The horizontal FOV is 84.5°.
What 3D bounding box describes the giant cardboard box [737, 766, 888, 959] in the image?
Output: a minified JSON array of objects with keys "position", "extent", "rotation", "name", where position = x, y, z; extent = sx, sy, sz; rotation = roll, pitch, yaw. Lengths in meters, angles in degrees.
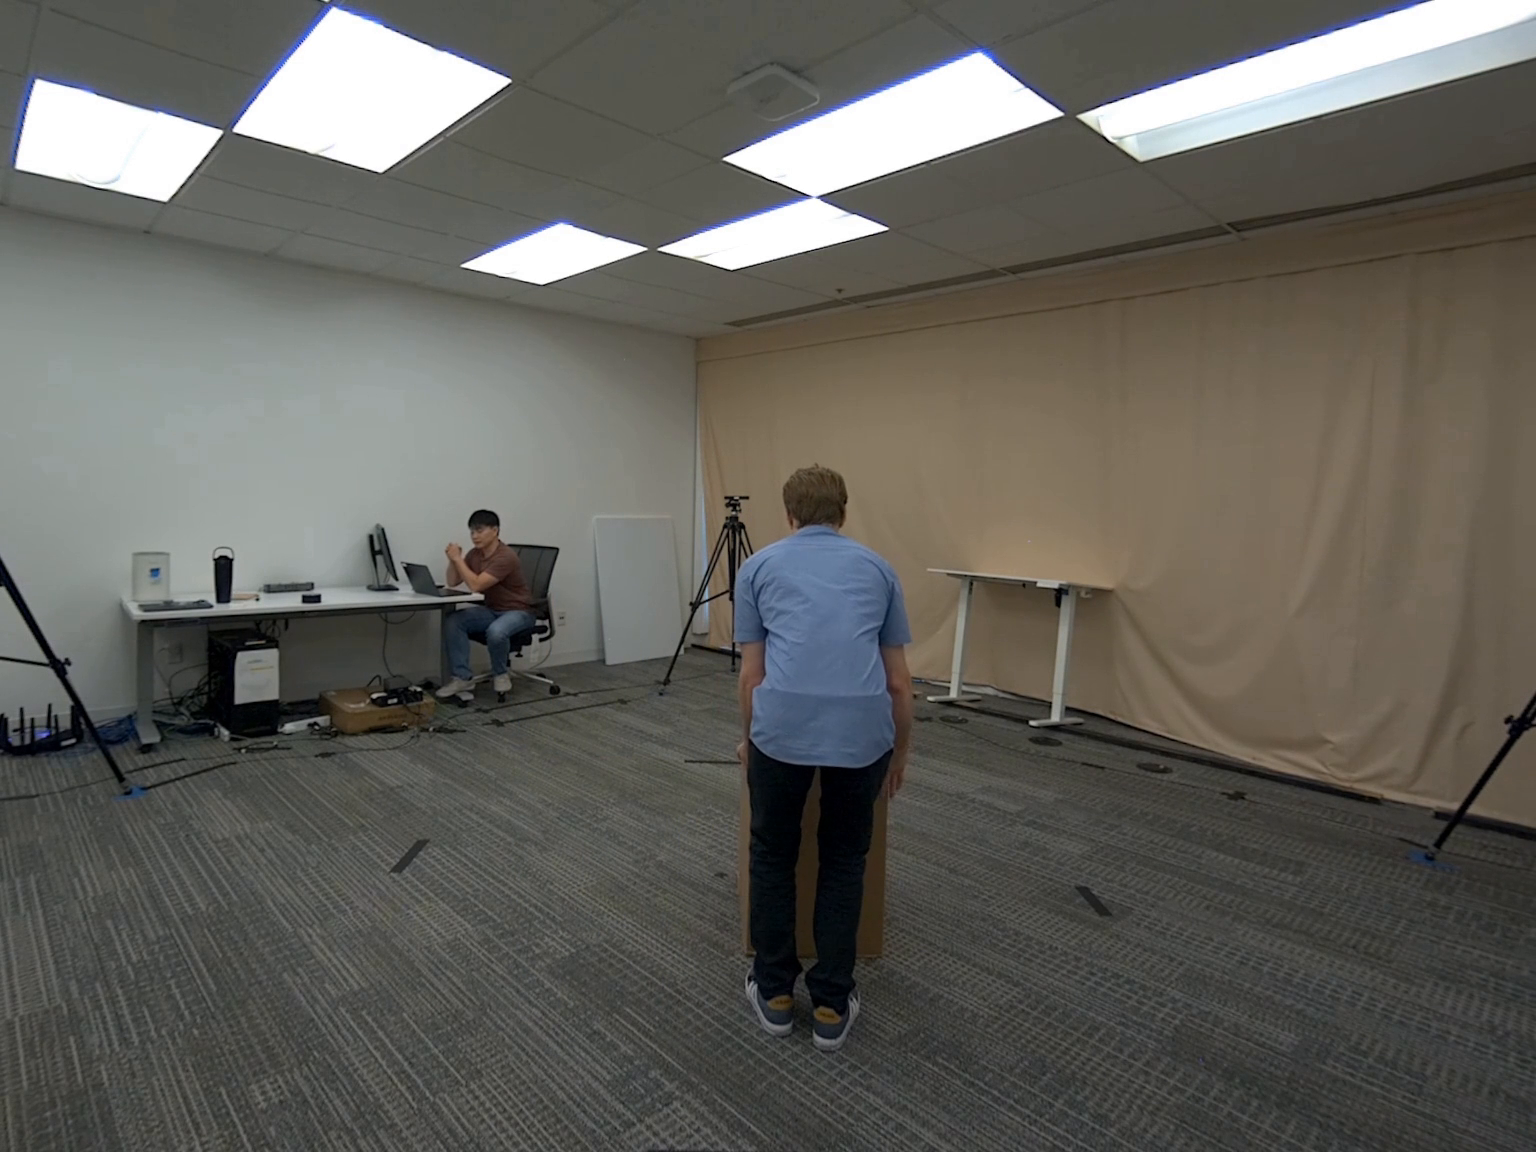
[{"position":[0.136,0.631,2.816],"extent":[0.425,1.023,0.580],"rotation":[1,4,-3],"name":"giant cardboard box"}]
